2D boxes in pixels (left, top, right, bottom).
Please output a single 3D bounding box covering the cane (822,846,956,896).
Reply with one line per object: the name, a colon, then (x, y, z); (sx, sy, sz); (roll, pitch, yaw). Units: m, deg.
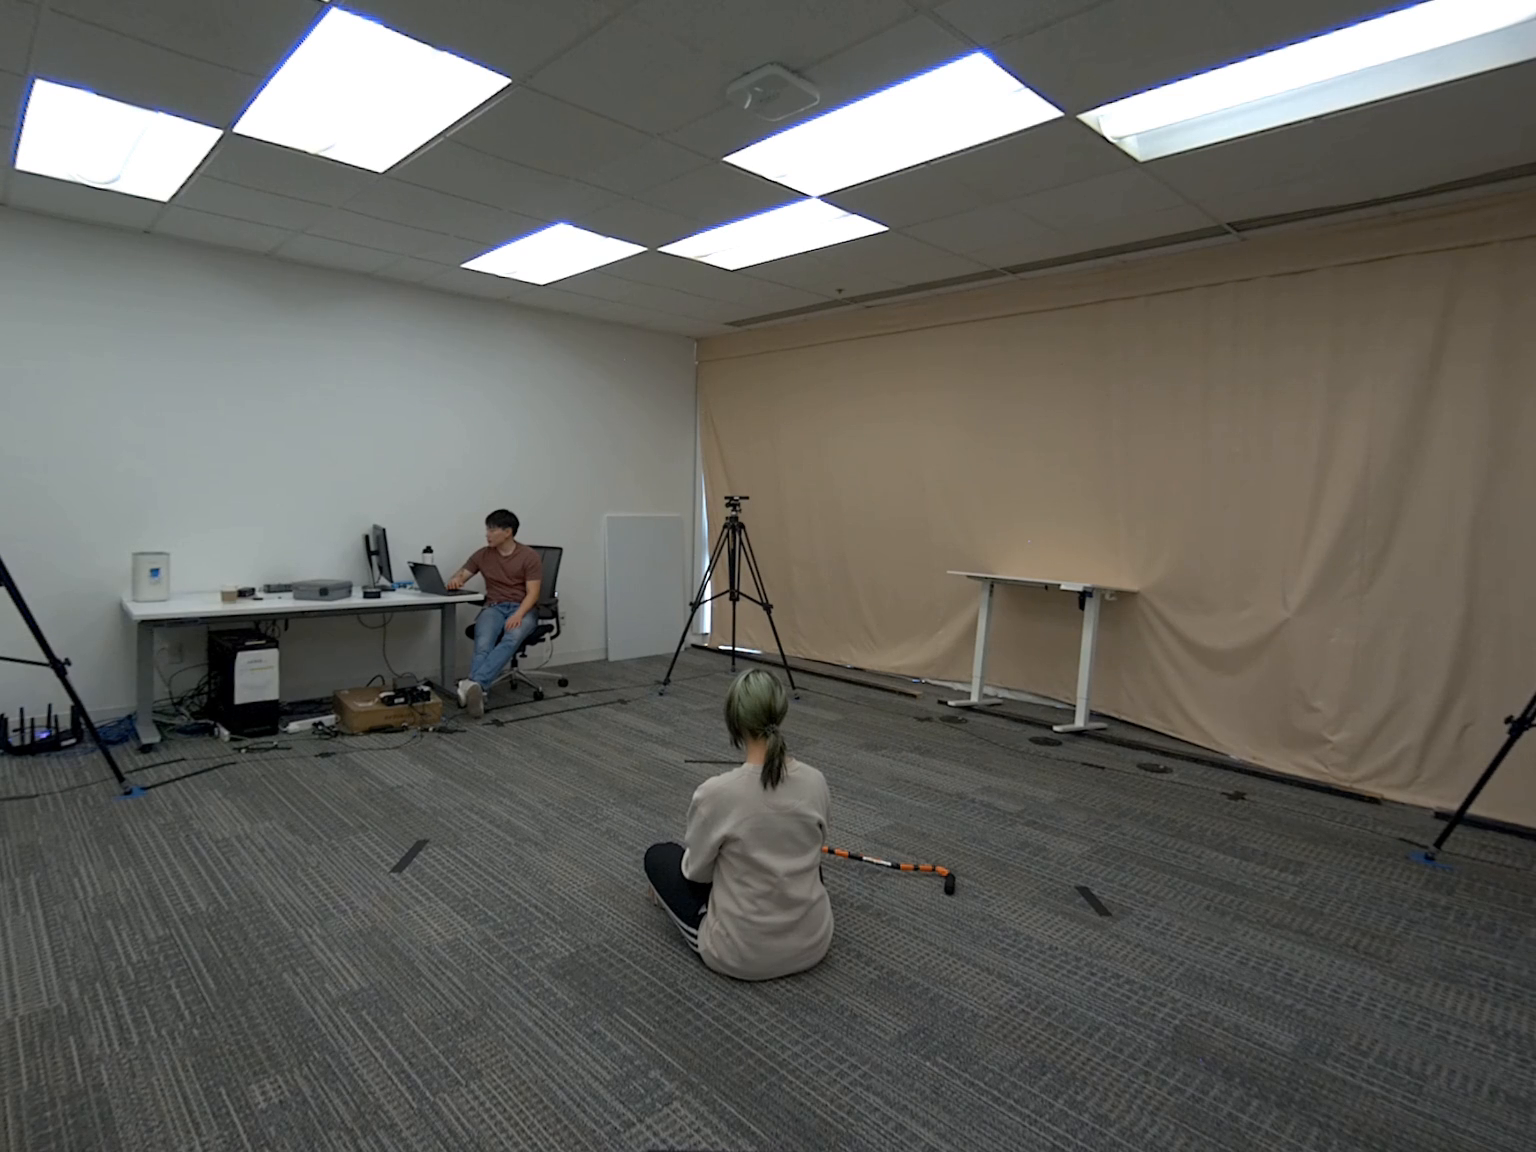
cane: (0.237, 1.057, 3.207); (0.922, 0.151, 0.204); (7, 4, 17)
